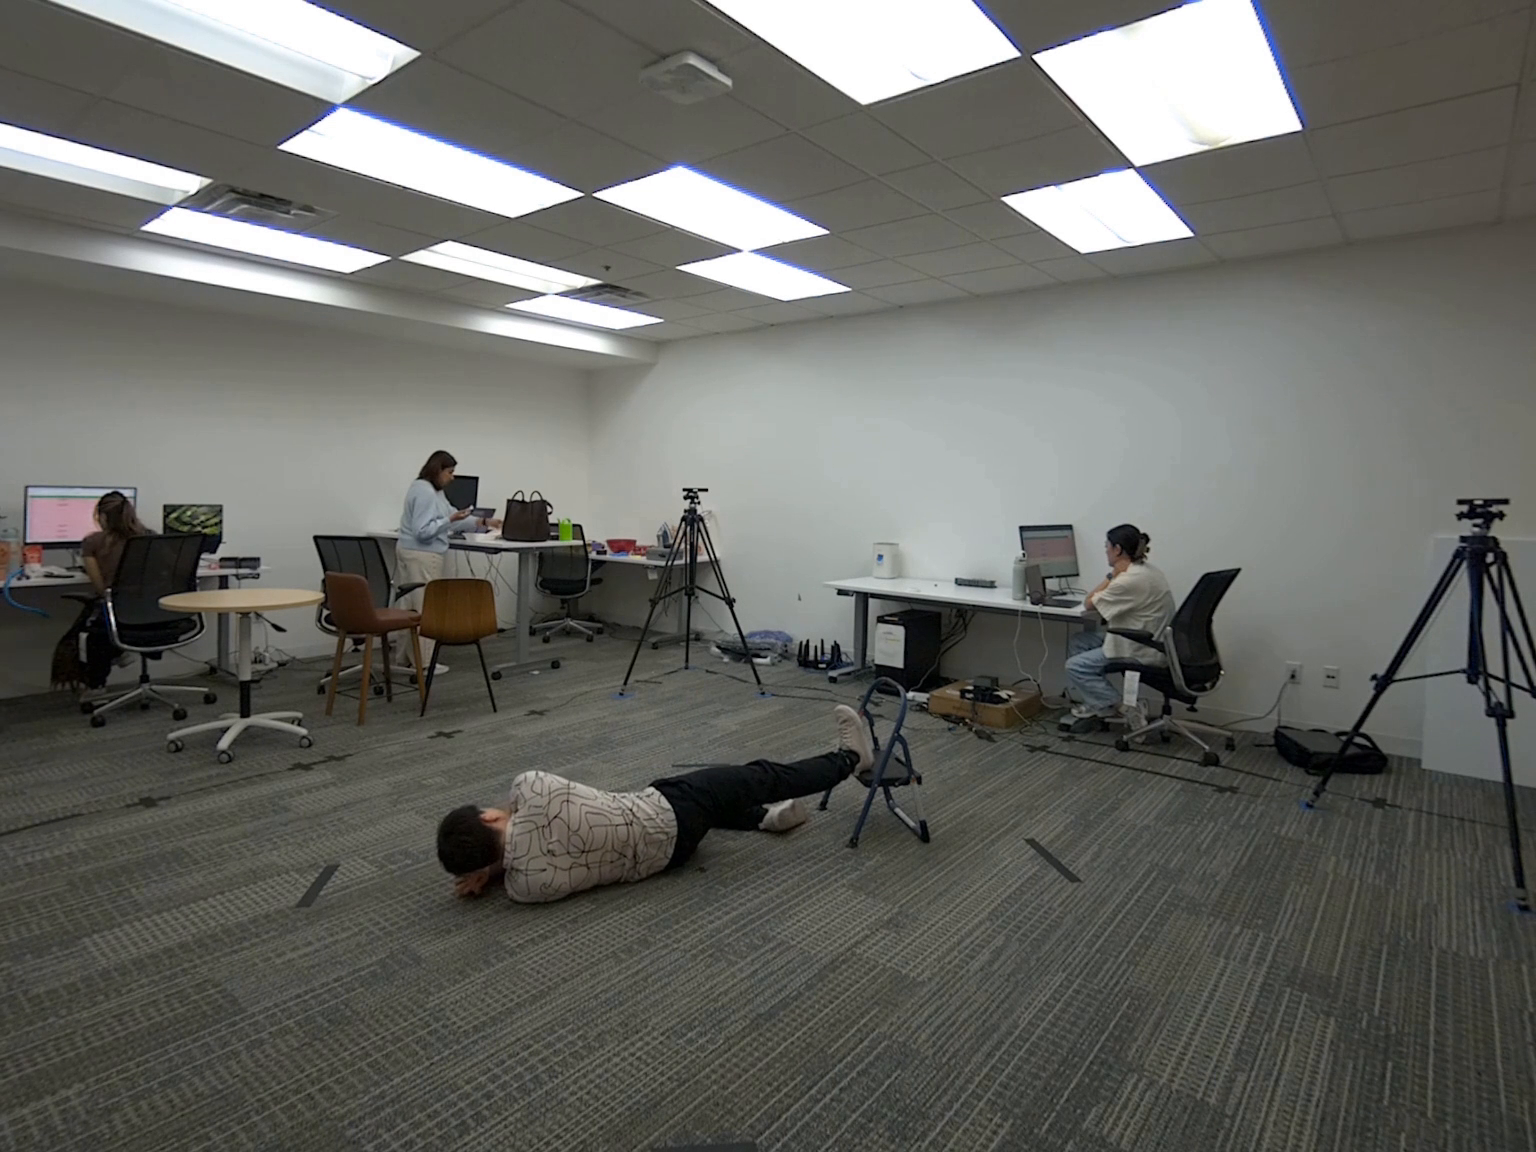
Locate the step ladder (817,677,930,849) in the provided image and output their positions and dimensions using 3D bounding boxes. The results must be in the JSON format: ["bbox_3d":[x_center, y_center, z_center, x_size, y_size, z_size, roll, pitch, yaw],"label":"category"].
[{"bbox_3d":[0.437,0.741,3.552,0.345,0.604,0.438,0,4,-13],"label":"step ladder"}]
